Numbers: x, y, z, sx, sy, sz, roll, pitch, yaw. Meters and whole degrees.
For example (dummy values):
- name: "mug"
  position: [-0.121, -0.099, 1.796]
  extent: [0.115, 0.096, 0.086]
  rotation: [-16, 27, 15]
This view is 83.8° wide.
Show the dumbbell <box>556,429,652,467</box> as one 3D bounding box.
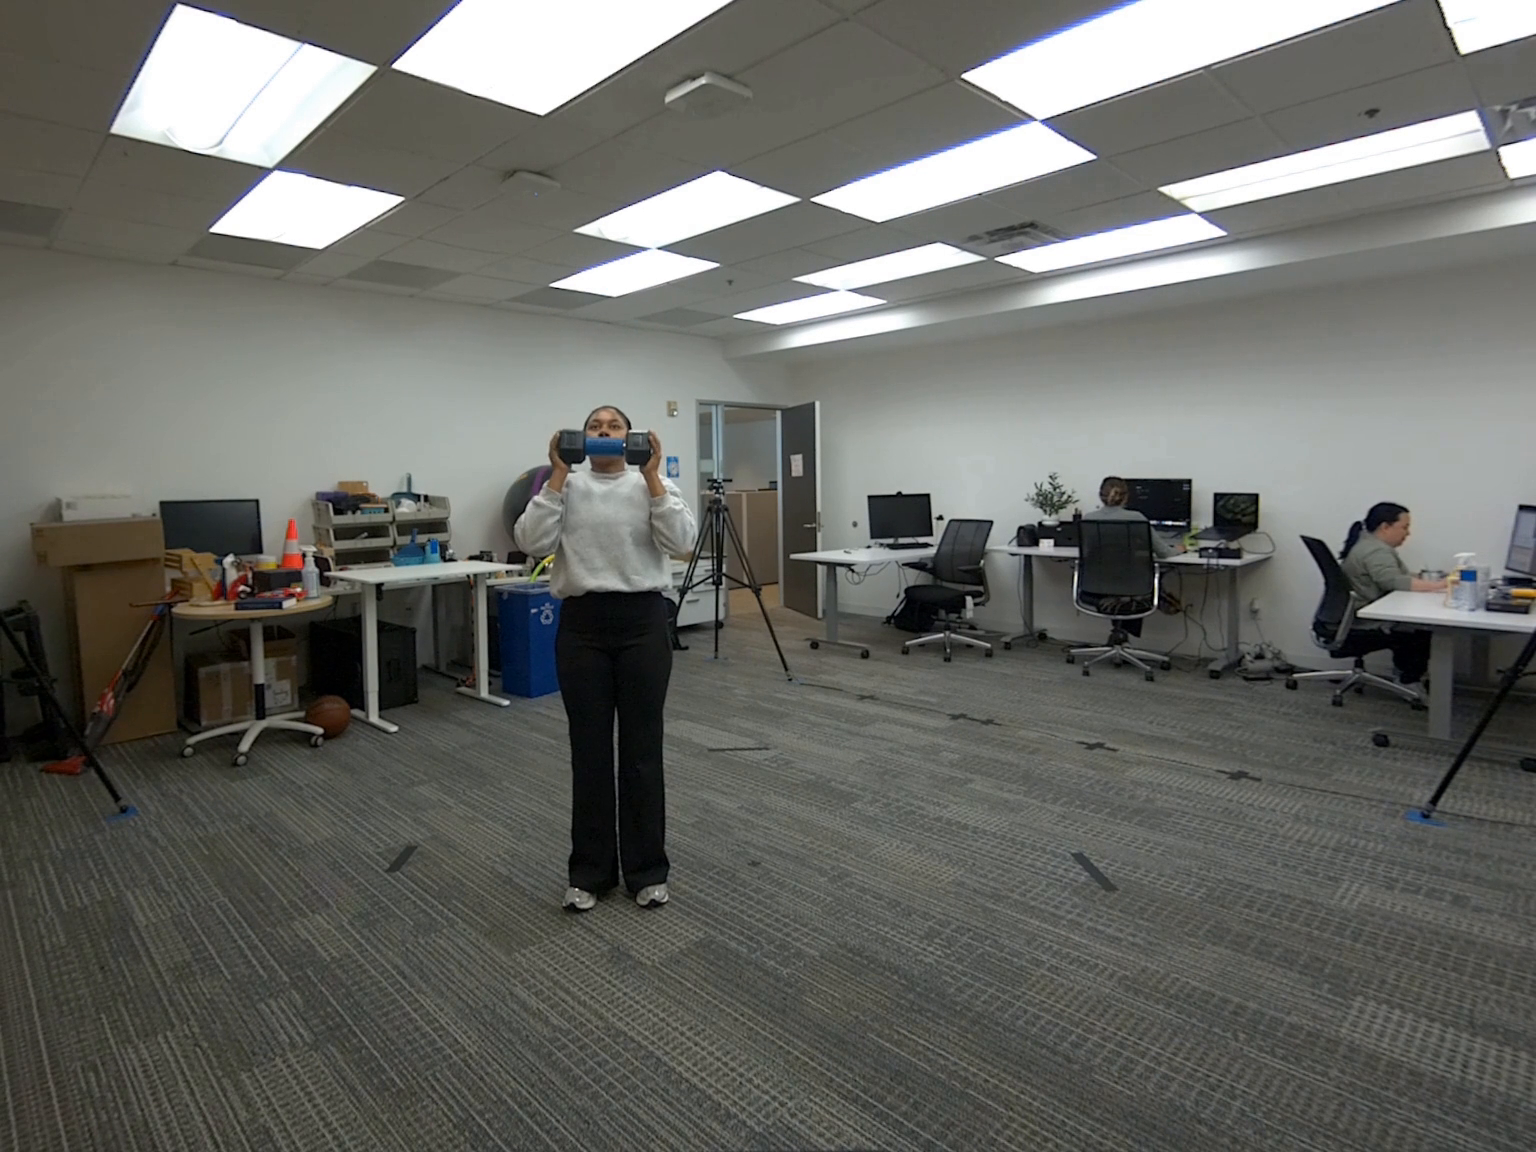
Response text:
- name: "dumbbell"
  position: [-0.518, -0.406, 2.751]
  extent: [0.294, 0.111, 0.119]
  rotation: [2, -42, 1]
